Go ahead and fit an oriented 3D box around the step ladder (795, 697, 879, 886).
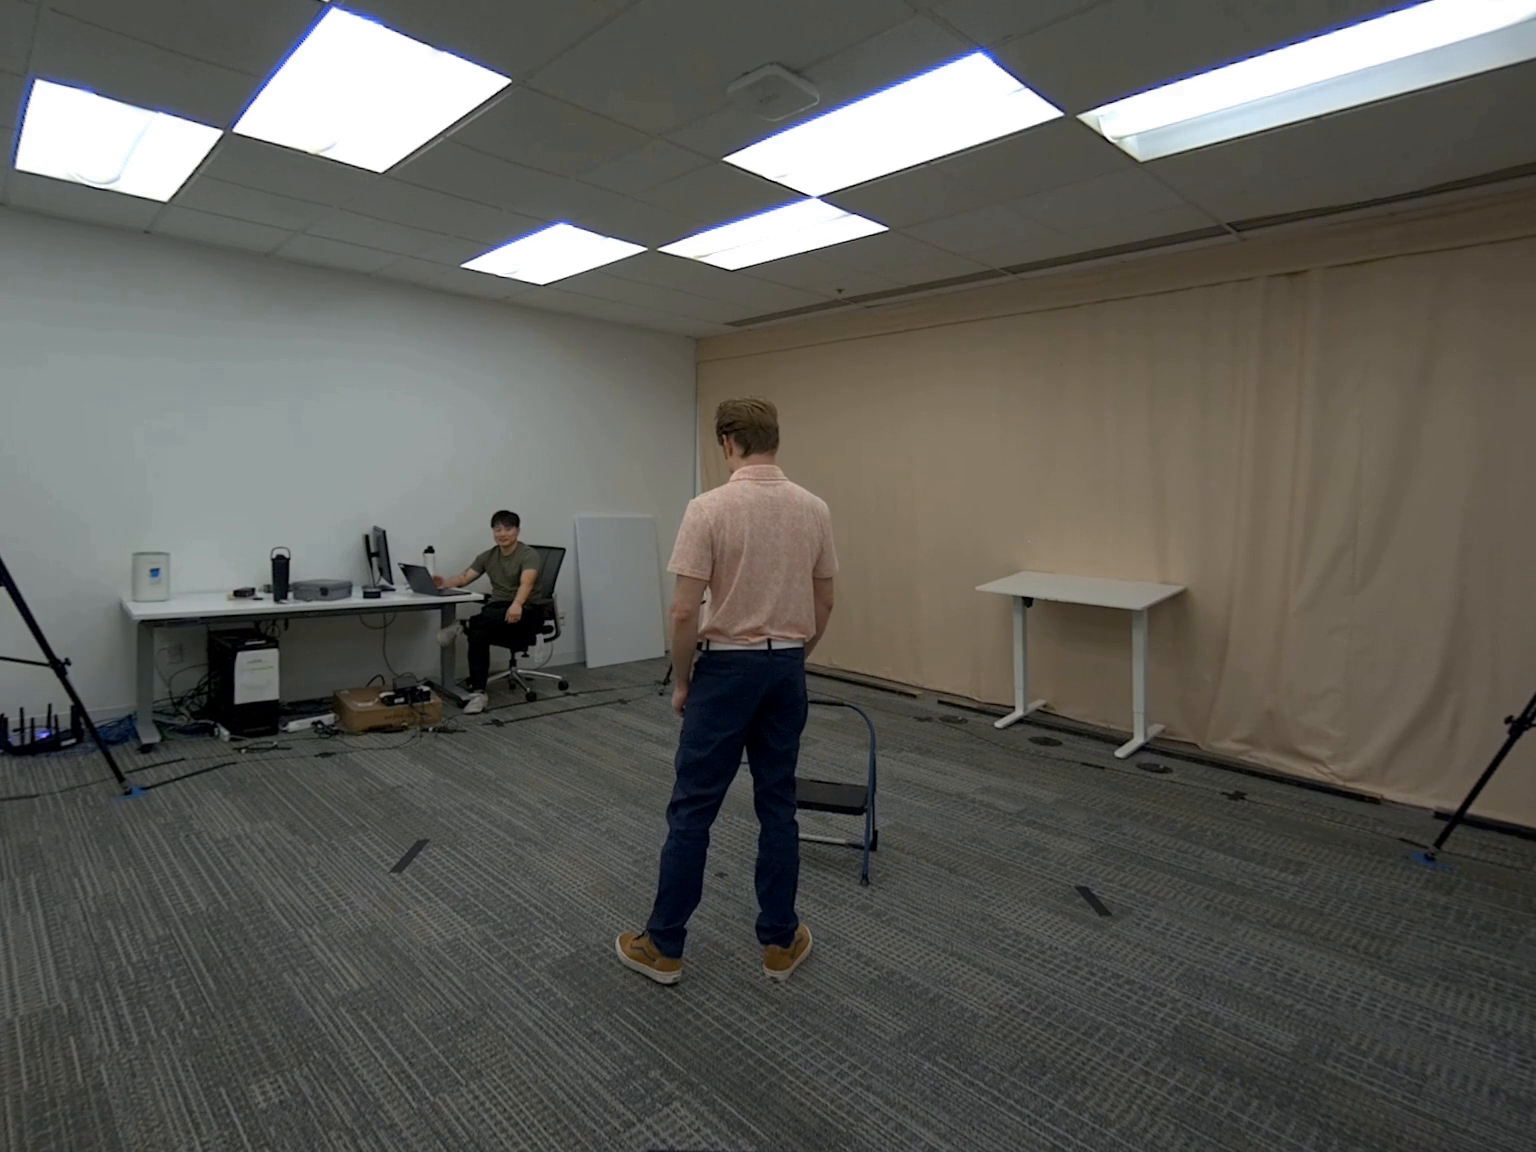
[{"bbox_3d":[0.203,0.797,3.254,0.436,0.605,0.345,2,3,15],"label":"step ladder"}]
